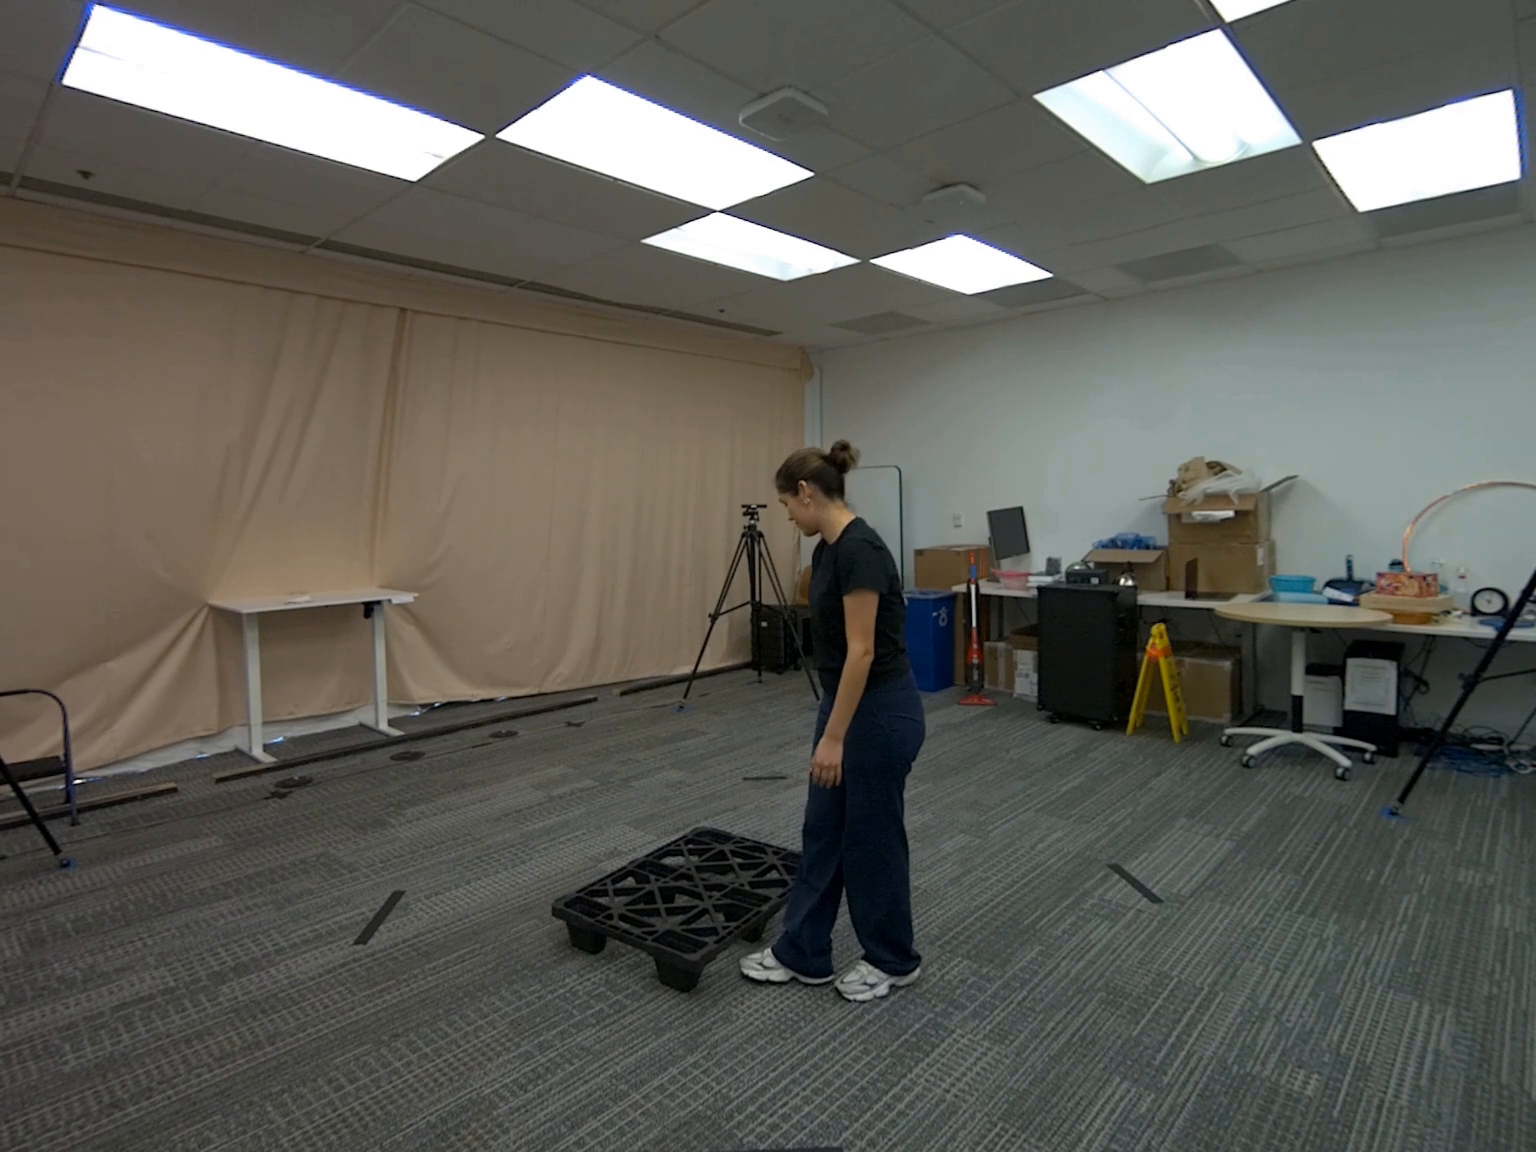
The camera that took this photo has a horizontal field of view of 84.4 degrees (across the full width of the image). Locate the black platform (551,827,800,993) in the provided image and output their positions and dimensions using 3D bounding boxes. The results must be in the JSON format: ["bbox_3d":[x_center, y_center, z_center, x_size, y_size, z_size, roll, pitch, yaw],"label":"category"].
[{"bbox_3d":[-0.213,1.091,2.832,0.624,0.143,0.783,3,7,35],"label":"black platform"}]
